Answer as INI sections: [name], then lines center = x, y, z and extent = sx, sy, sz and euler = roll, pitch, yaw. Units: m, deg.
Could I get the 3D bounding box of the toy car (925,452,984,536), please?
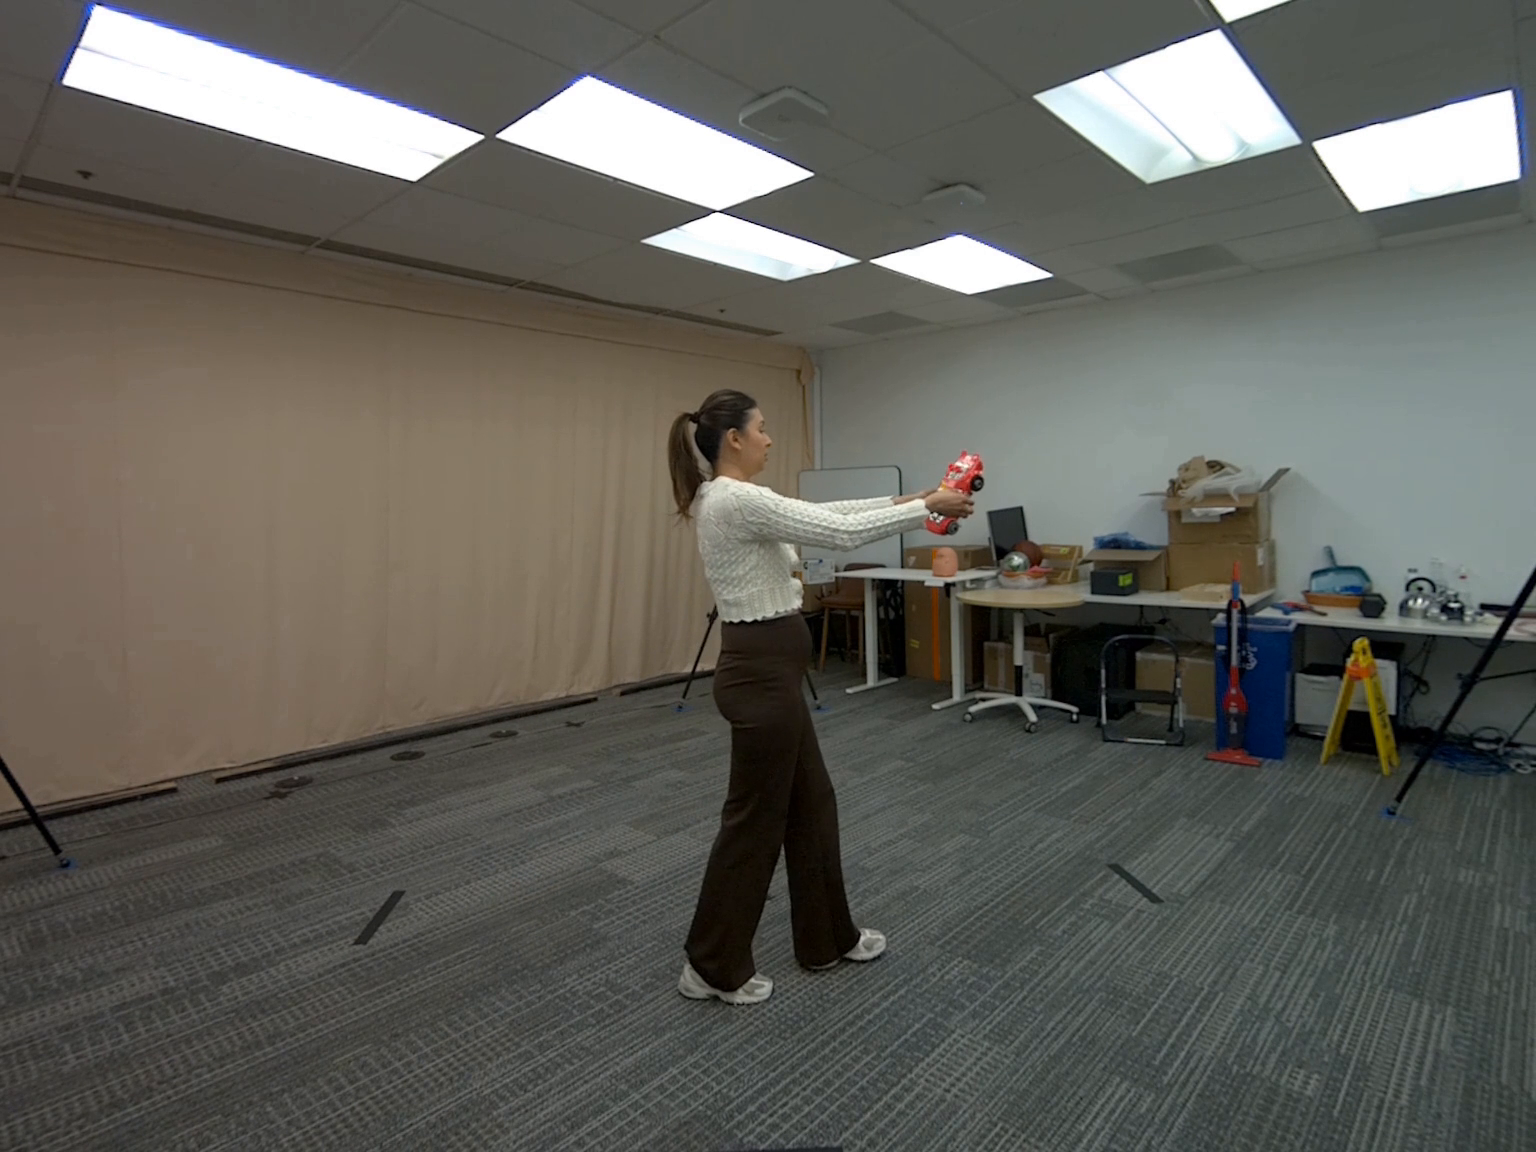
[toy car]
center = 0.554, -0.242, 2.435
extent = 0.081, 0.254, 0.134
euler = 17, 7, -29
